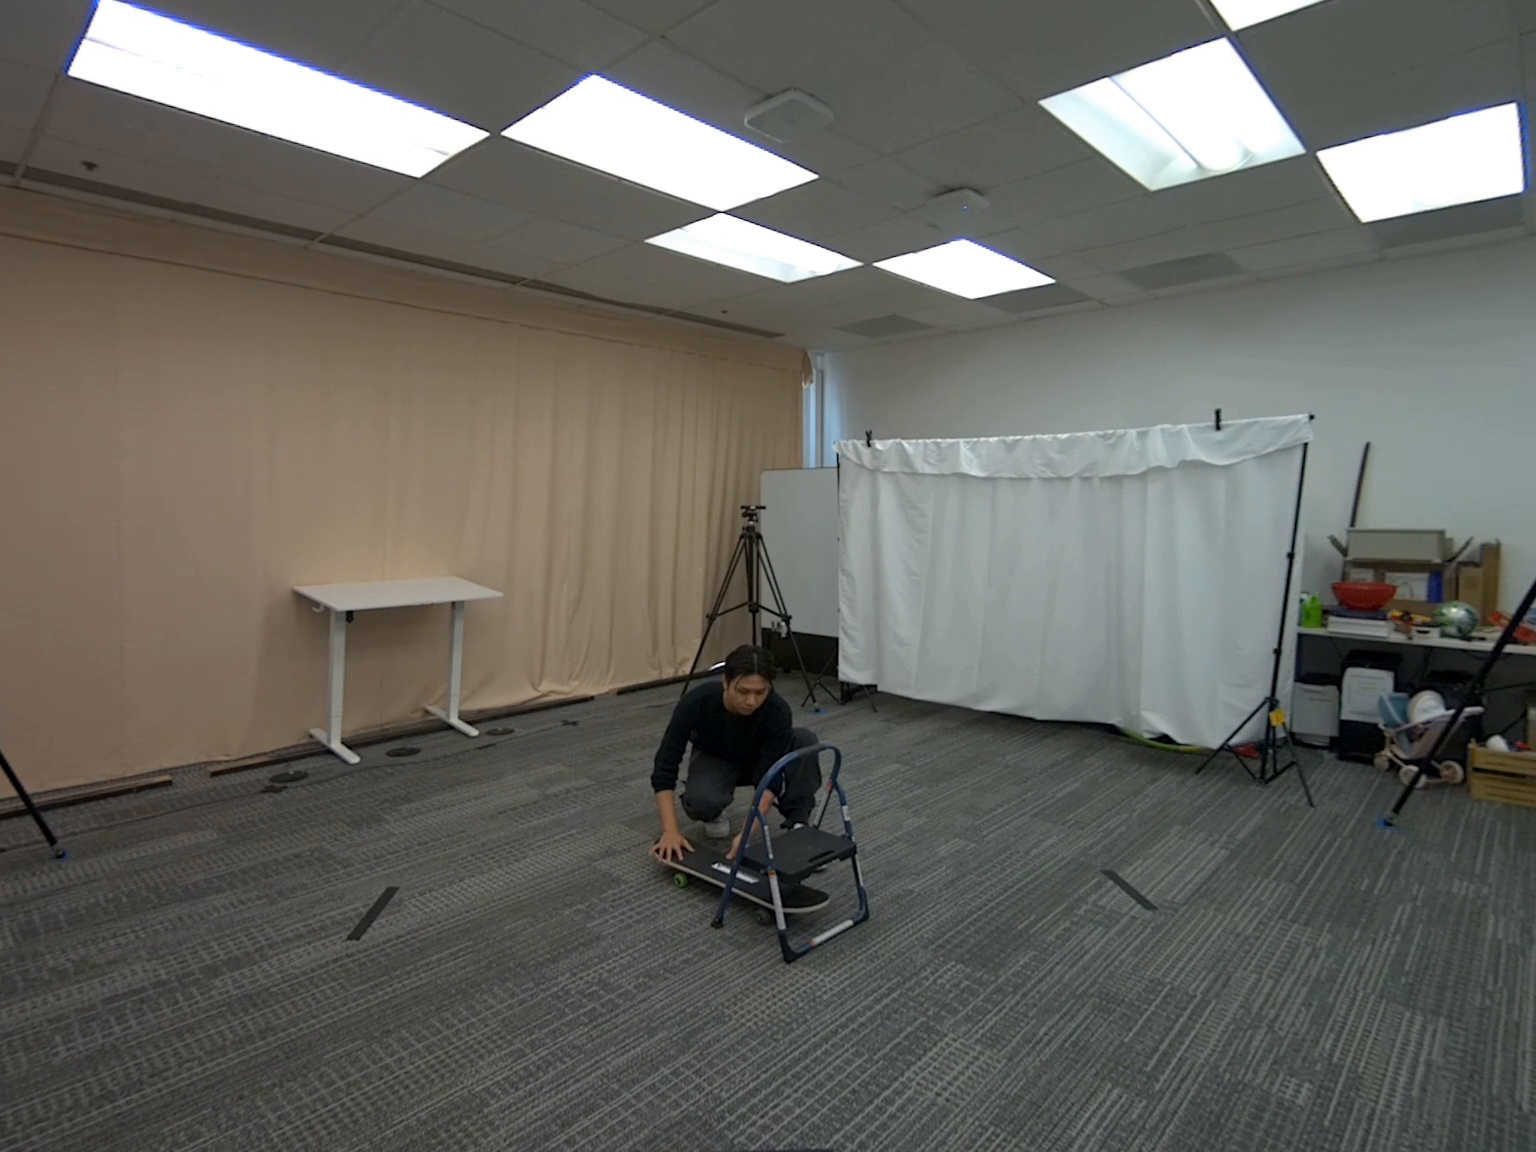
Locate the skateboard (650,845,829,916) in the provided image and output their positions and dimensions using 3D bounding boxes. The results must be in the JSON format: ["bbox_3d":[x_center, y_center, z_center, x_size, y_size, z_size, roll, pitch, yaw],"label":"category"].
[{"bbox_3d":[-0.109,1.075,2.992,0.811,0.110,0.187,3,5,41],"label":"skateboard"}]
